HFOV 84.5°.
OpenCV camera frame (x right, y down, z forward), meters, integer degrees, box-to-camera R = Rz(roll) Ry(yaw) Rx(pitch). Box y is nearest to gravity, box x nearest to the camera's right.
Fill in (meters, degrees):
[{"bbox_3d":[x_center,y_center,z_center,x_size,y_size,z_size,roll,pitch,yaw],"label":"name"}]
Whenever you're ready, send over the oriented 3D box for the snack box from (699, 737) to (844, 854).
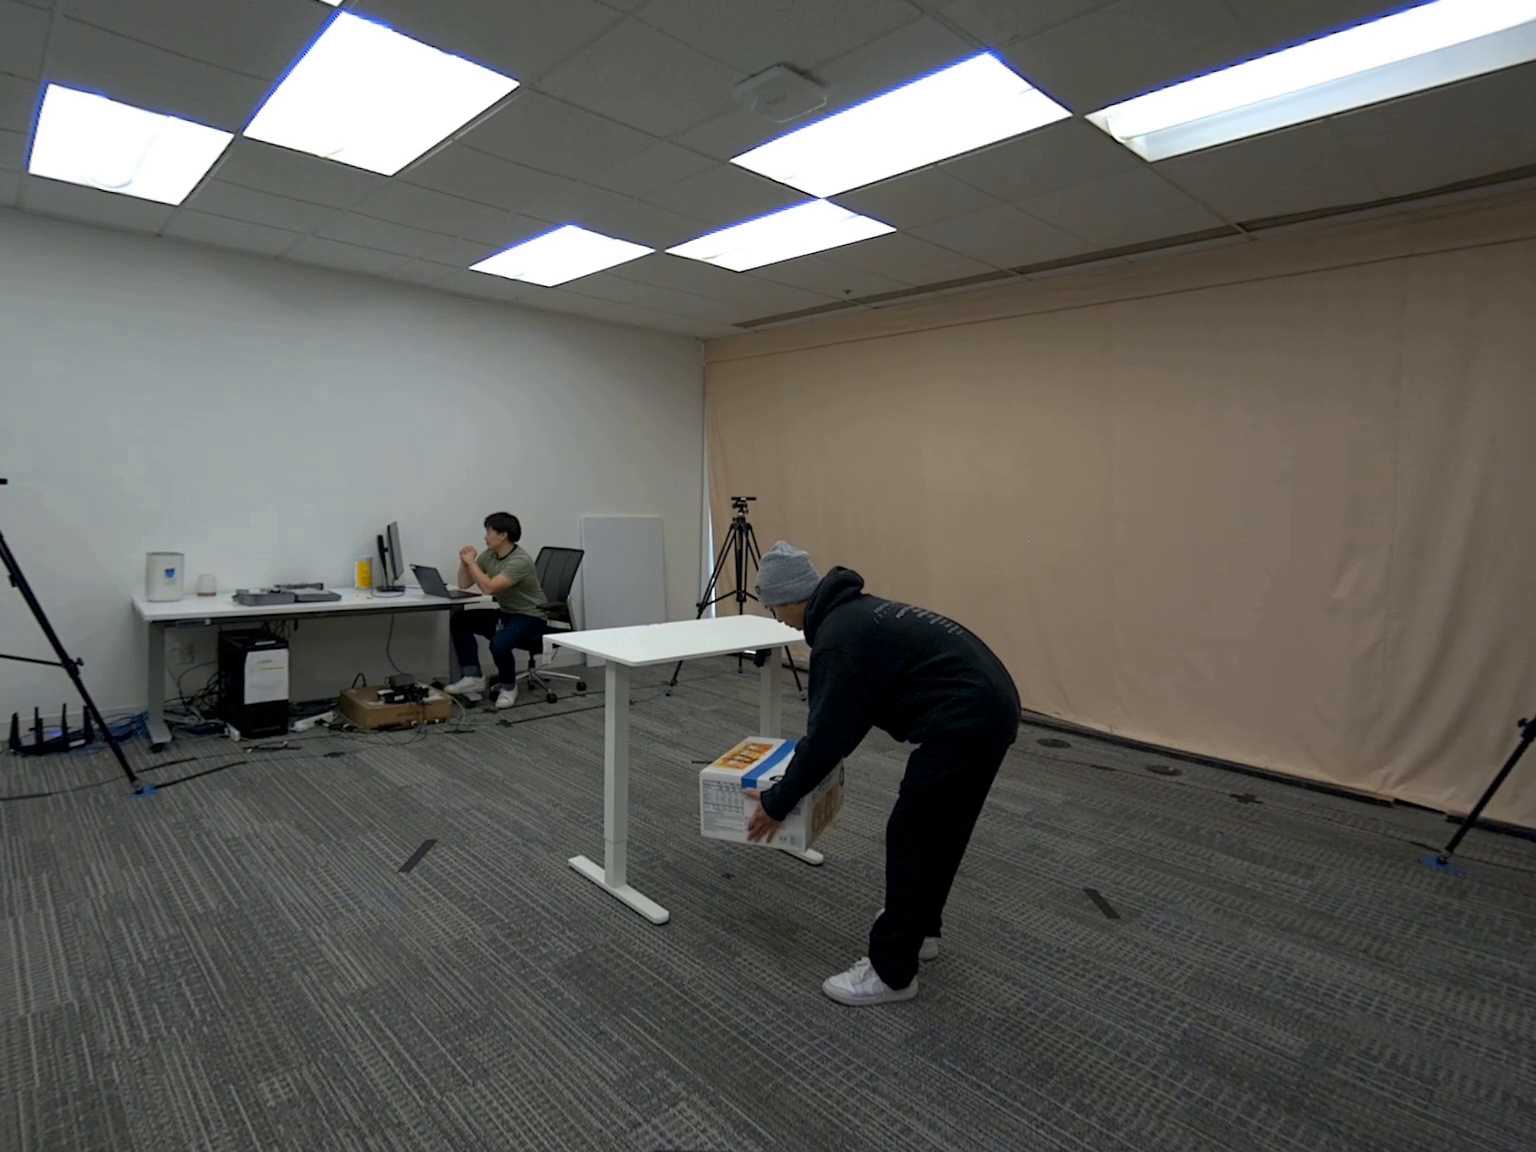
[{"bbox_3d":[0.020,0.680,2.664,0.346,0.205,0.400,0,6,22],"label":"snack box"}]
